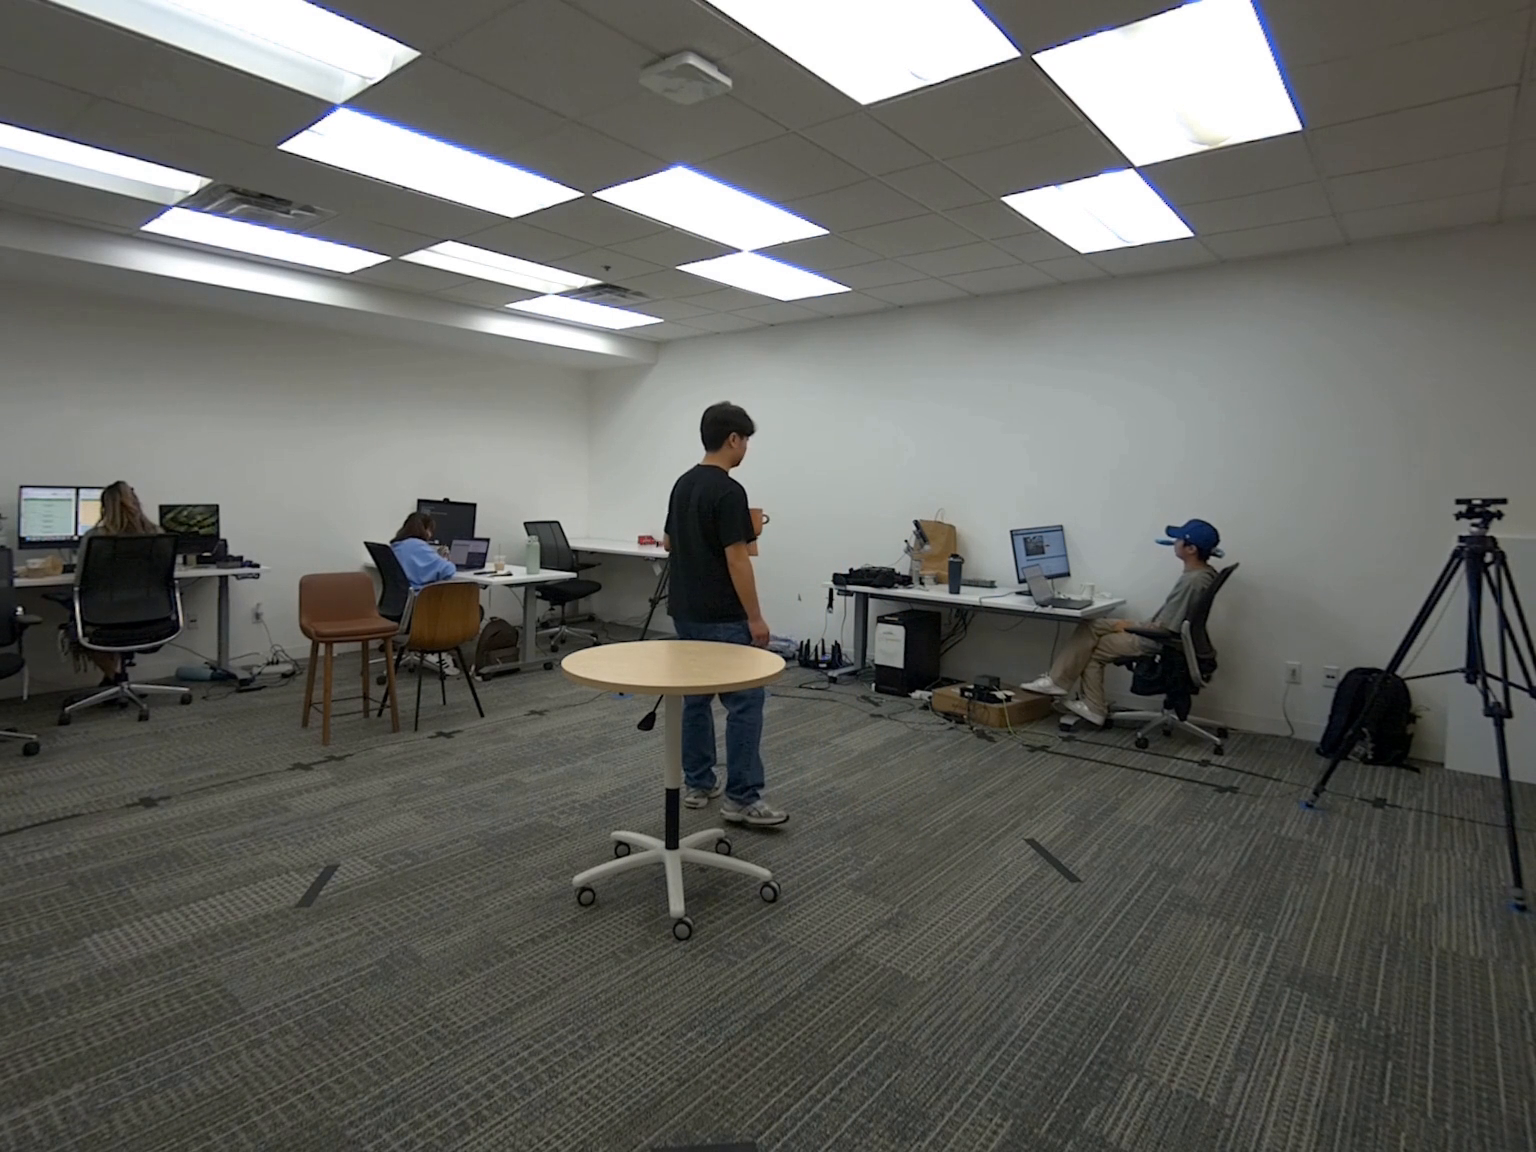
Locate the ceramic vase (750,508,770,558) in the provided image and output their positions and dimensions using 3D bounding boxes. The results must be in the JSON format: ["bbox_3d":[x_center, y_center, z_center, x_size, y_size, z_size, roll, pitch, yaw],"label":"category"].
[{"bbox_3d":[-0.100,-0.204,3.917,0.130,0.220,0.164,2,1,-36],"label":"ceramic vase"}]
